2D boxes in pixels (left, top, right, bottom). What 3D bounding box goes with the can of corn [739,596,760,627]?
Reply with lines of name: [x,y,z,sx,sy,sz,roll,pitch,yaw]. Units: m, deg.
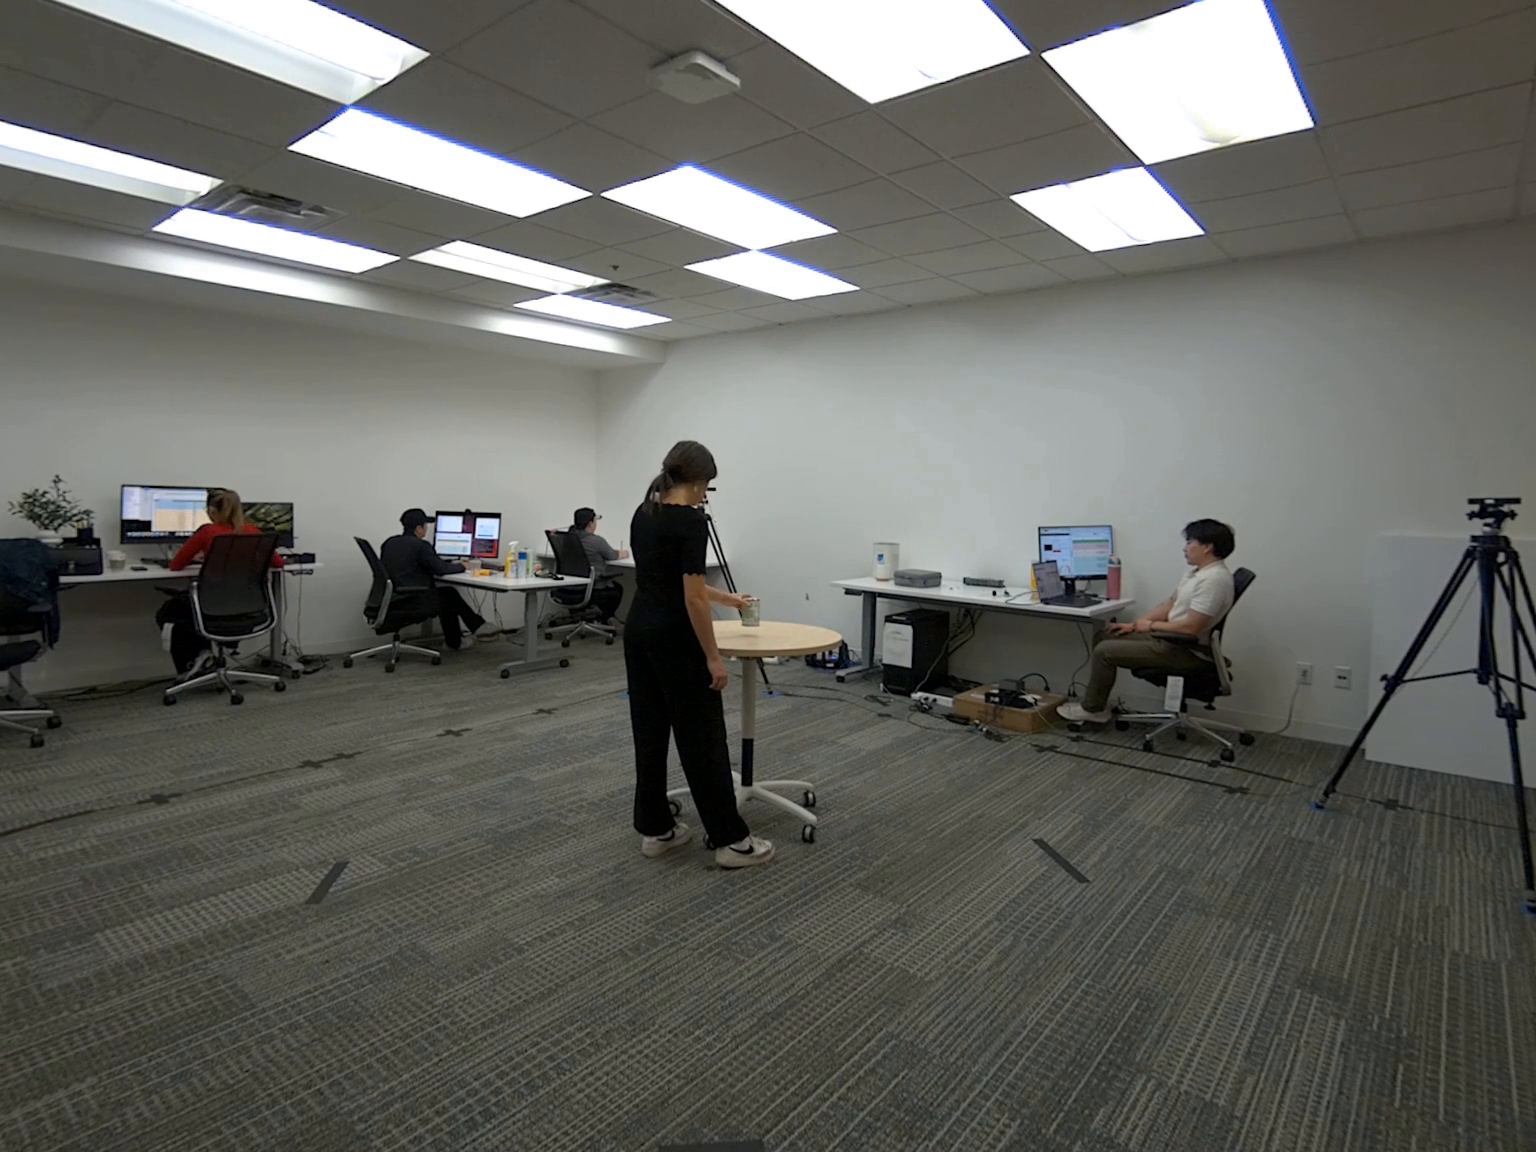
can of corn: [-0.082,0.150,3.512,0.074,0.111,0.074,-1,1,-2]
